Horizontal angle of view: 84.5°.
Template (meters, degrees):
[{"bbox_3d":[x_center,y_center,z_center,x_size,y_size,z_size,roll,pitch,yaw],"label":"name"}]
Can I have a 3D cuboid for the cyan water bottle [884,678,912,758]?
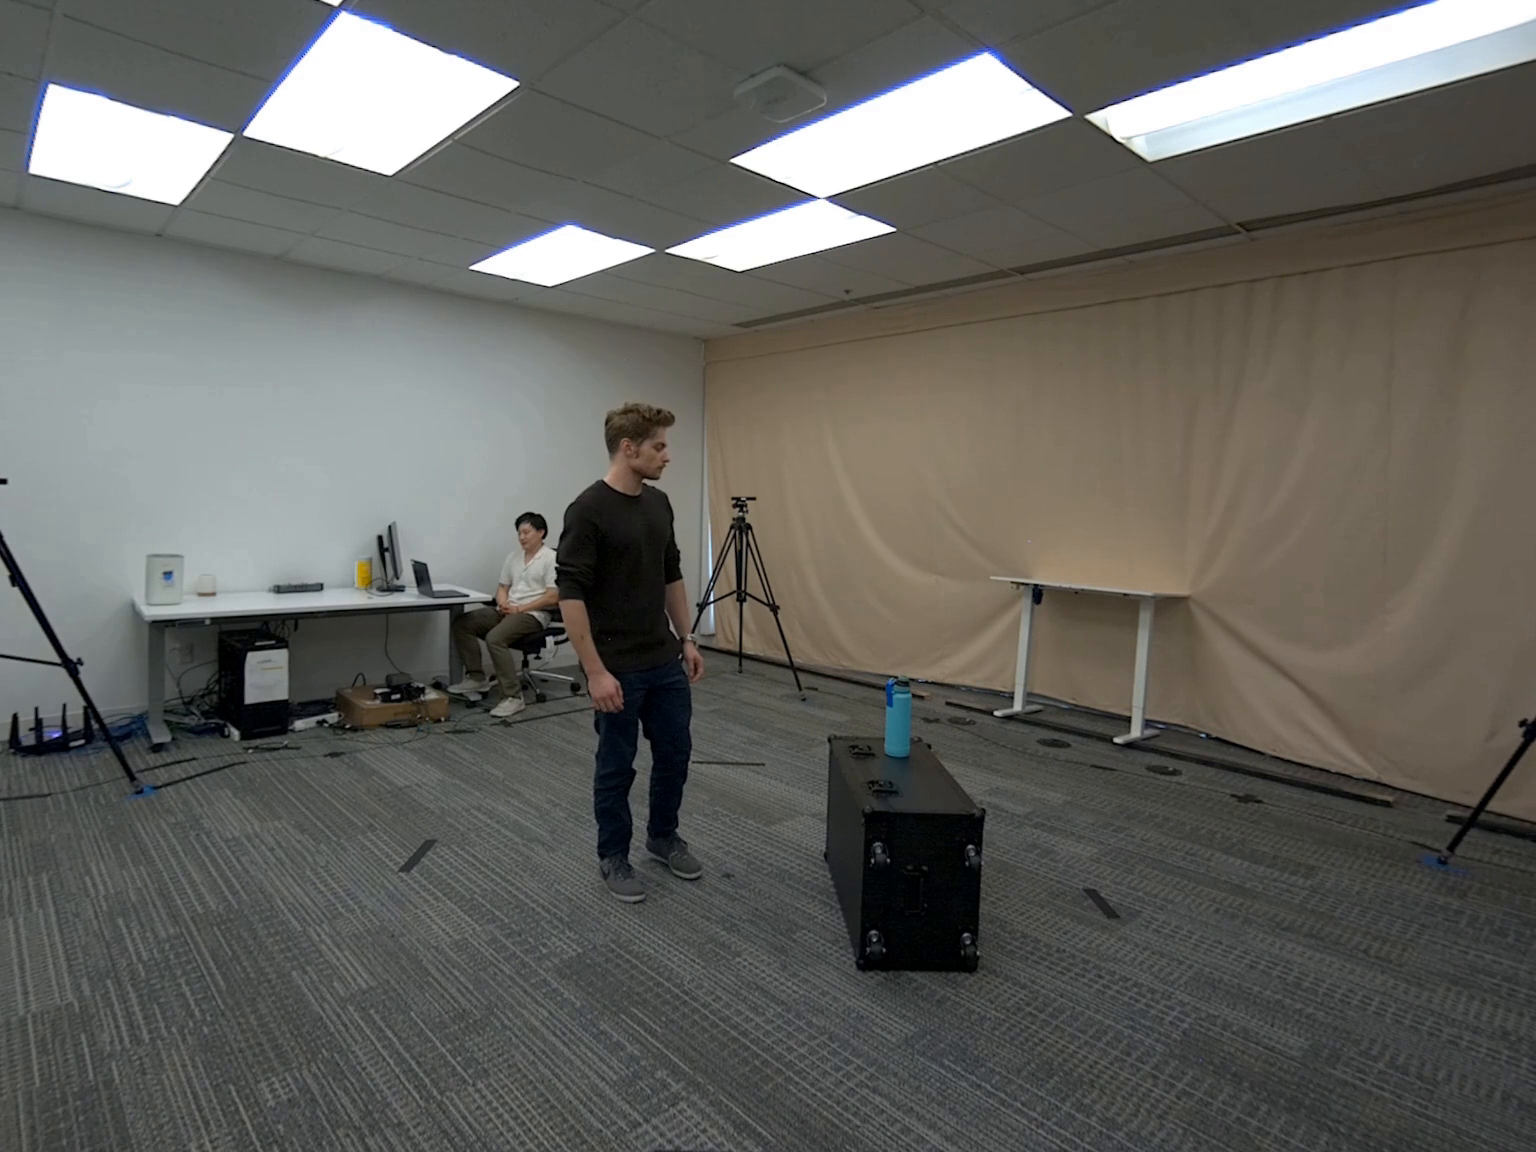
[{"bbox_3d":[0.463,0.505,3.044,0.092,0.283,0.092,3,4,-2],"label":"cyan water bottle"}]
